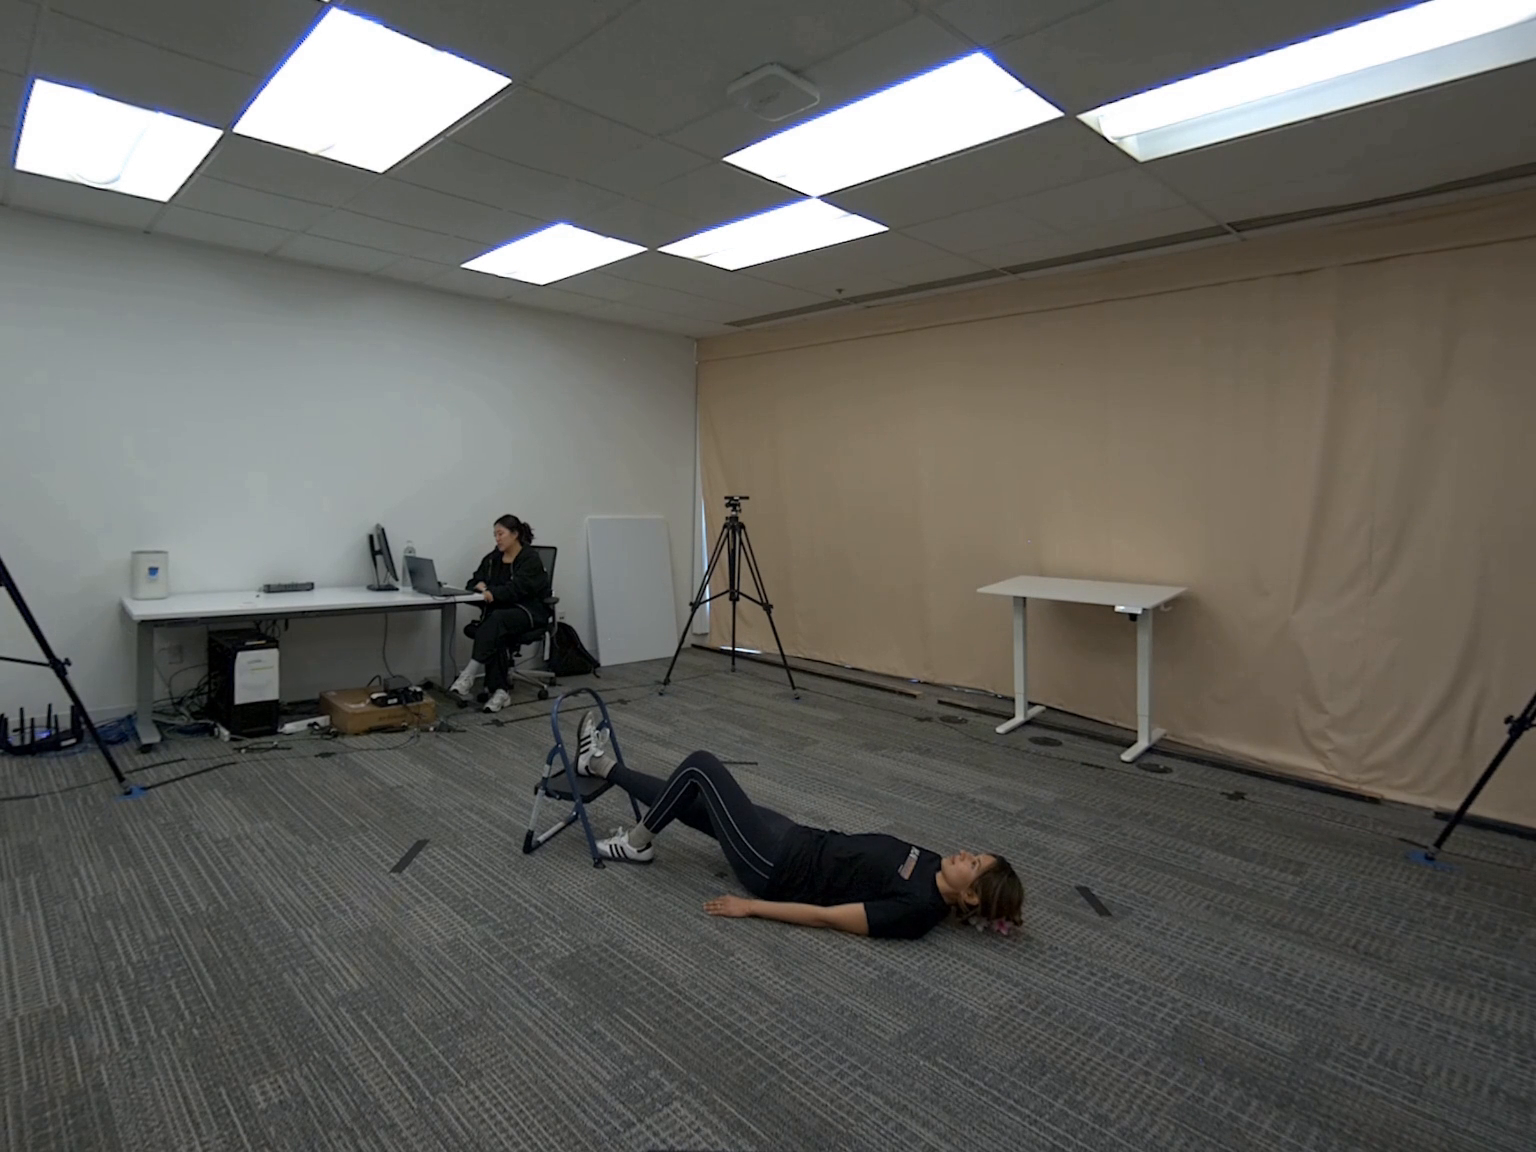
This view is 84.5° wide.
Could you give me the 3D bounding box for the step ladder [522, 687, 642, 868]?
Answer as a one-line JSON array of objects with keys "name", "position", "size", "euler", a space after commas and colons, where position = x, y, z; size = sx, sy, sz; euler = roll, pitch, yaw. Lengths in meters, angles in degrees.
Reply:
[{"name": "step ladder", "position": [-0.729, 0.765, 3.376], "size": [0.354, 0.604, 0.426], "euler": [2, 4, 16]}]
